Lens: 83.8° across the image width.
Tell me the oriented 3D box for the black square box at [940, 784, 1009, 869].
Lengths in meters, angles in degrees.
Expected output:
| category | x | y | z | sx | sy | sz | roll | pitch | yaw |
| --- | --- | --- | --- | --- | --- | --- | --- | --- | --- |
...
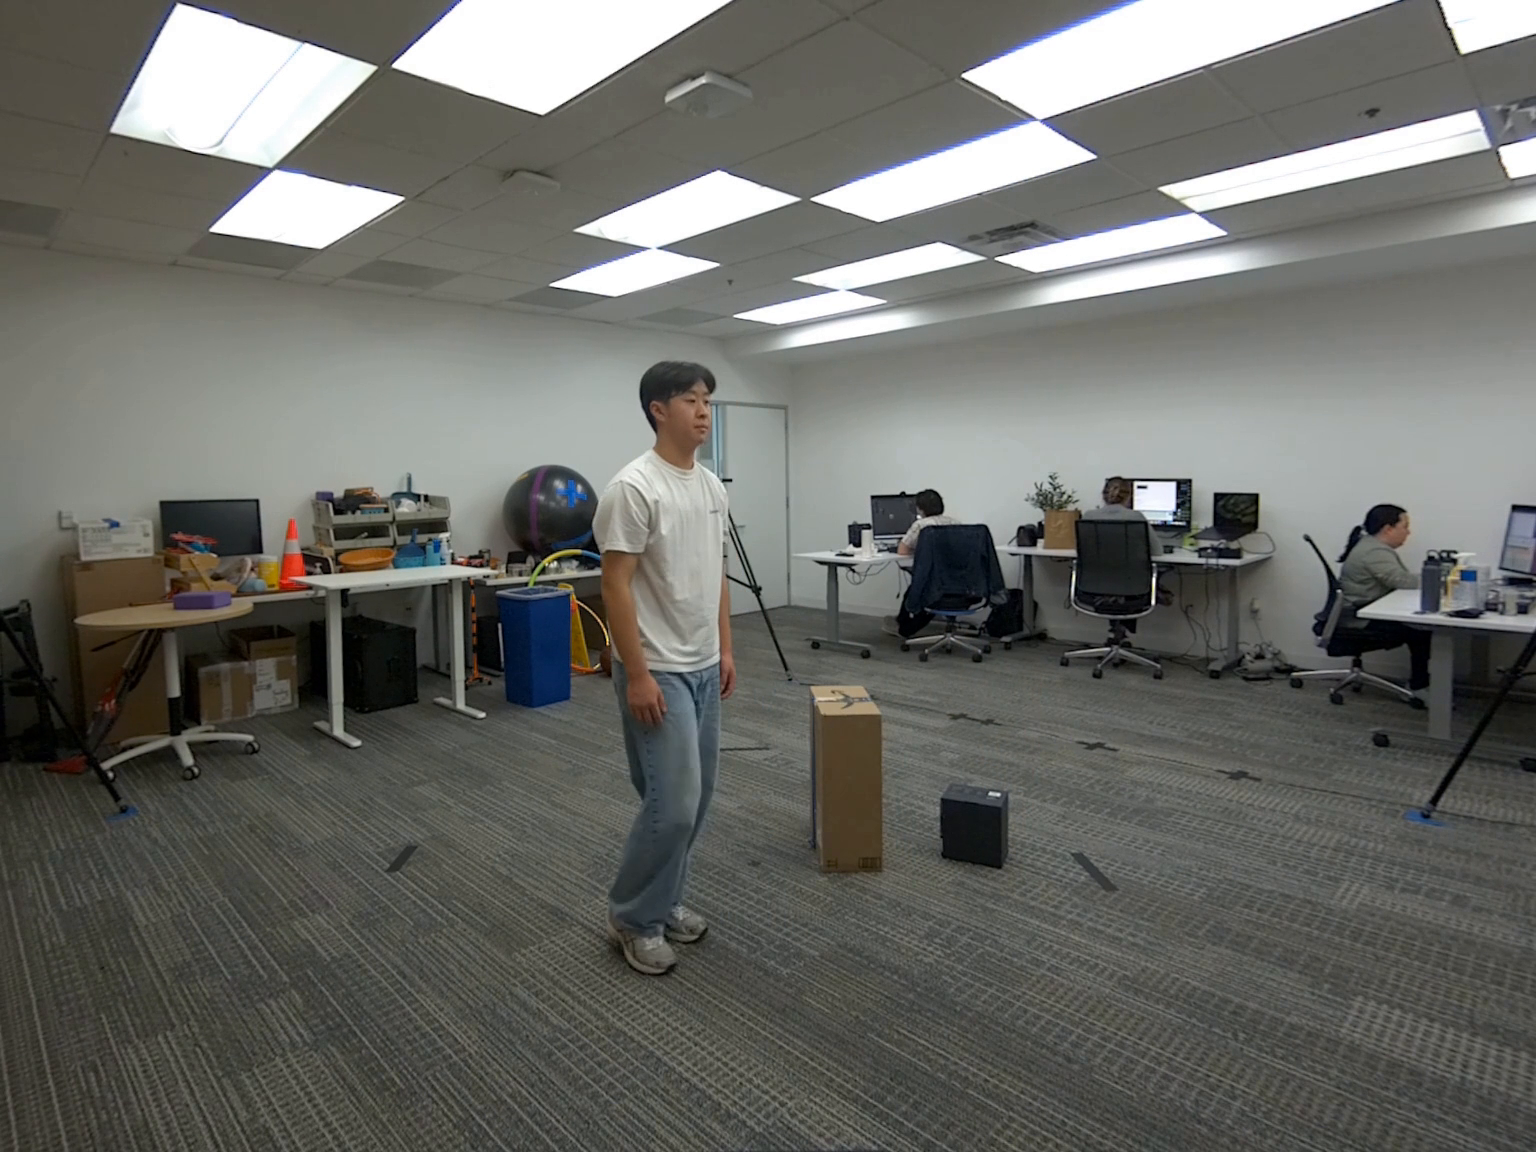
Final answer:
| category | x | y | z | sx | sy | sz | roll | pitch | yaw |
| --- | --- | --- | --- | --- | --- | --- | --- | --- | --- |
| black square box | 0.755 | 0.903 | 3.130 | 0.222 | 0.227 | 0.153 | 1 | 6 | 26 |
